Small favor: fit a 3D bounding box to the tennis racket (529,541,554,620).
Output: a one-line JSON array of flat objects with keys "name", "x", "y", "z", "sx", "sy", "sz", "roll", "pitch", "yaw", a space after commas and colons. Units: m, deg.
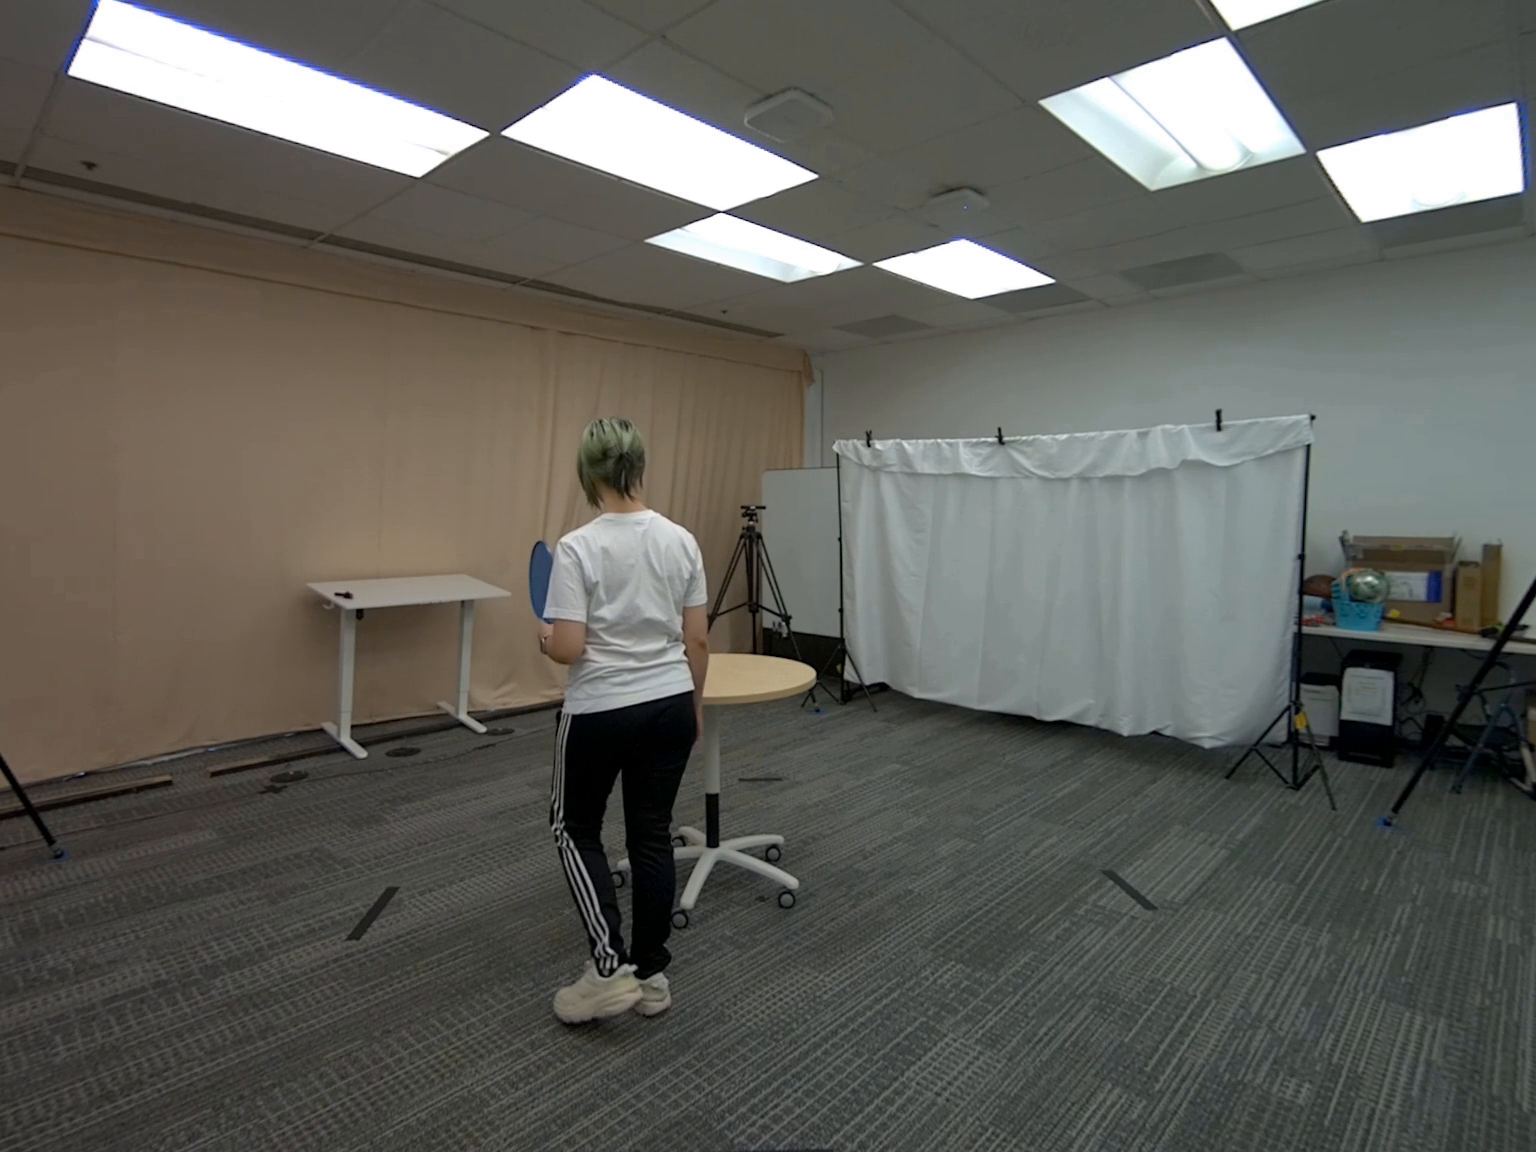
[{"name": "tennis racket", "x": -0.670, "y": 0.071, "z": 2.544, "sx": 0.031, "sy": 0.213, "sz": 0.445, "roll": 4, "pitch": 44, "yaw": -28}]
